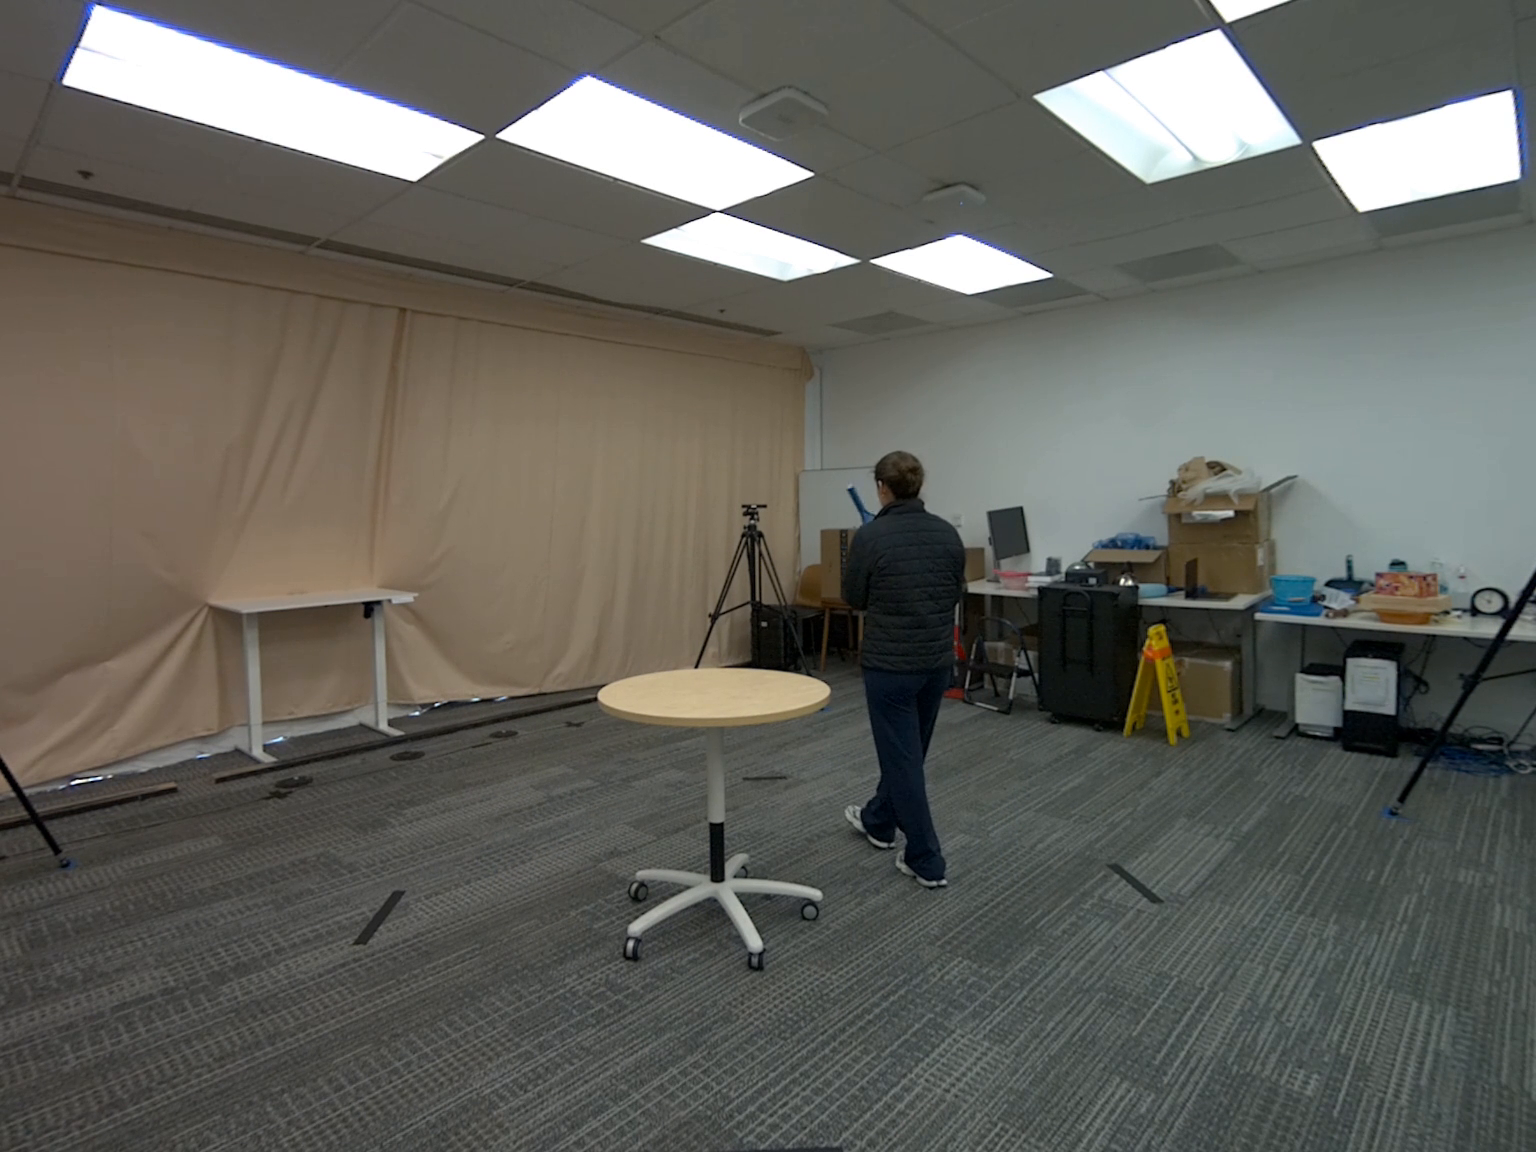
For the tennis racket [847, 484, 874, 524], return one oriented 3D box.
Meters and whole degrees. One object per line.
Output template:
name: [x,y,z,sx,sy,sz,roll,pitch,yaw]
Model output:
tennis racket: [0.443,-0.204,3.461,0.032,0.422,0.214,-18,28,27]
